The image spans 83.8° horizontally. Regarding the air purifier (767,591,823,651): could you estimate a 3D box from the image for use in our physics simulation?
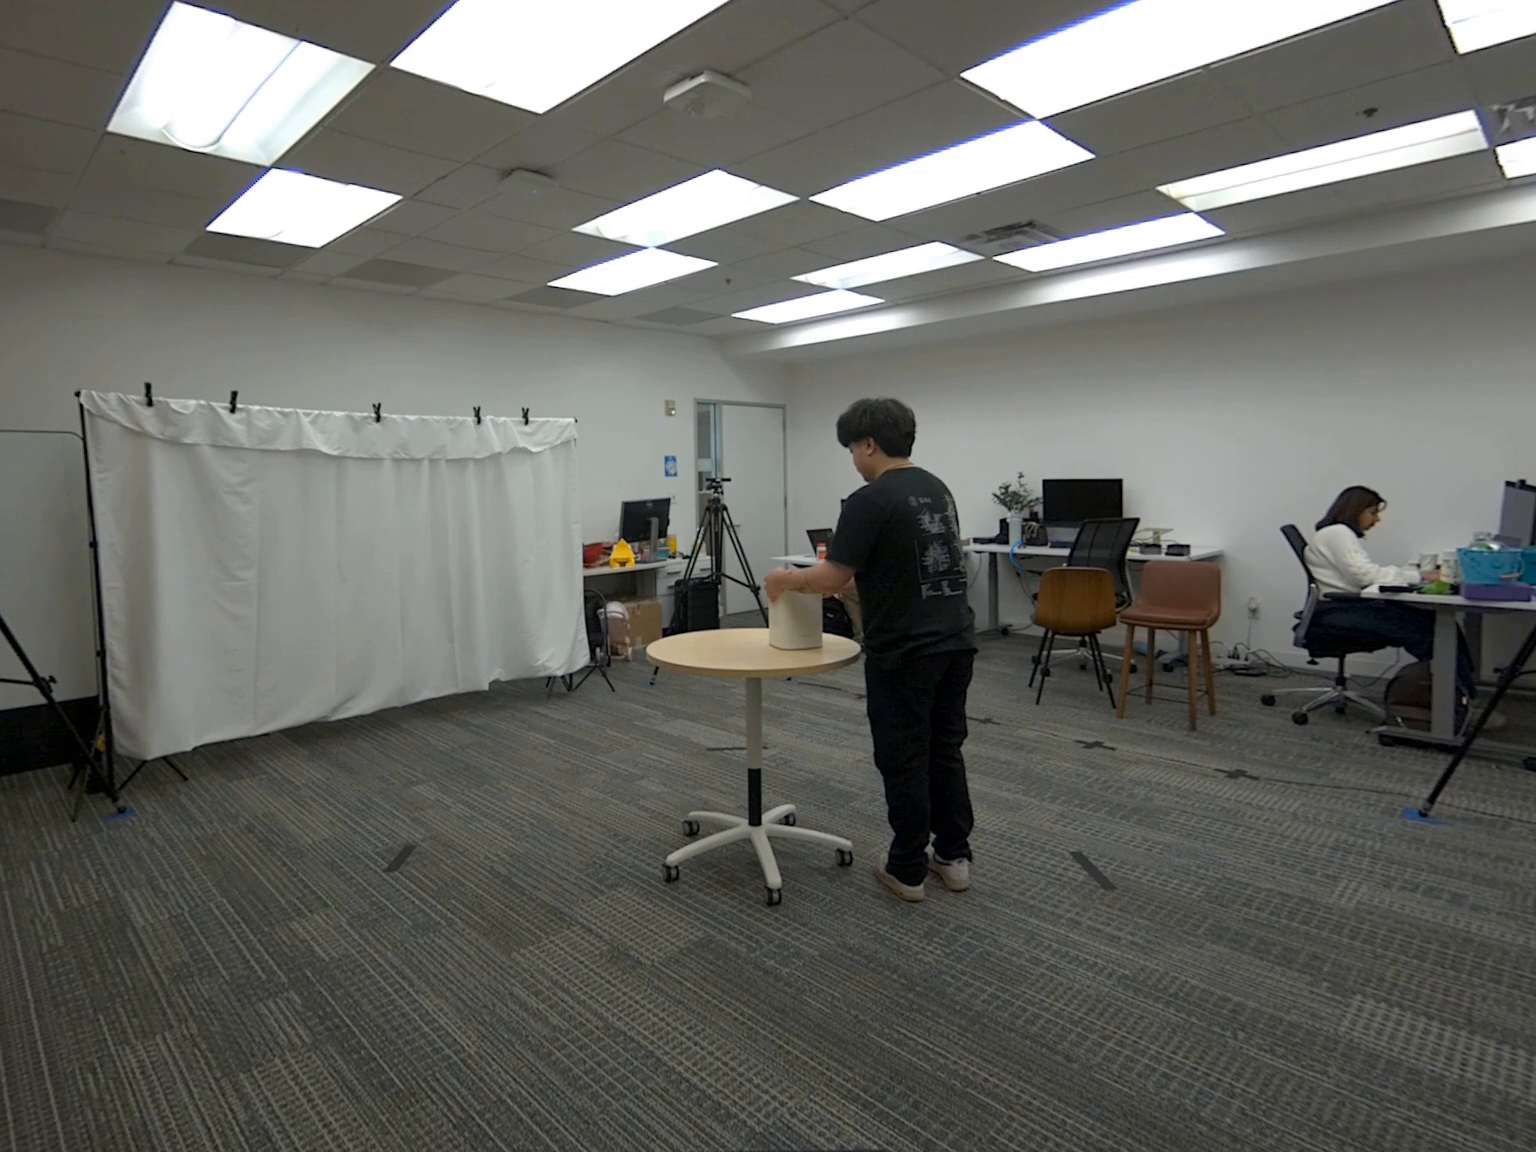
[{"bbox_3d":[0.102,0.118,3.072,0.168,0.264,0.175,0,5,-19],"label":"air purifier"}]
